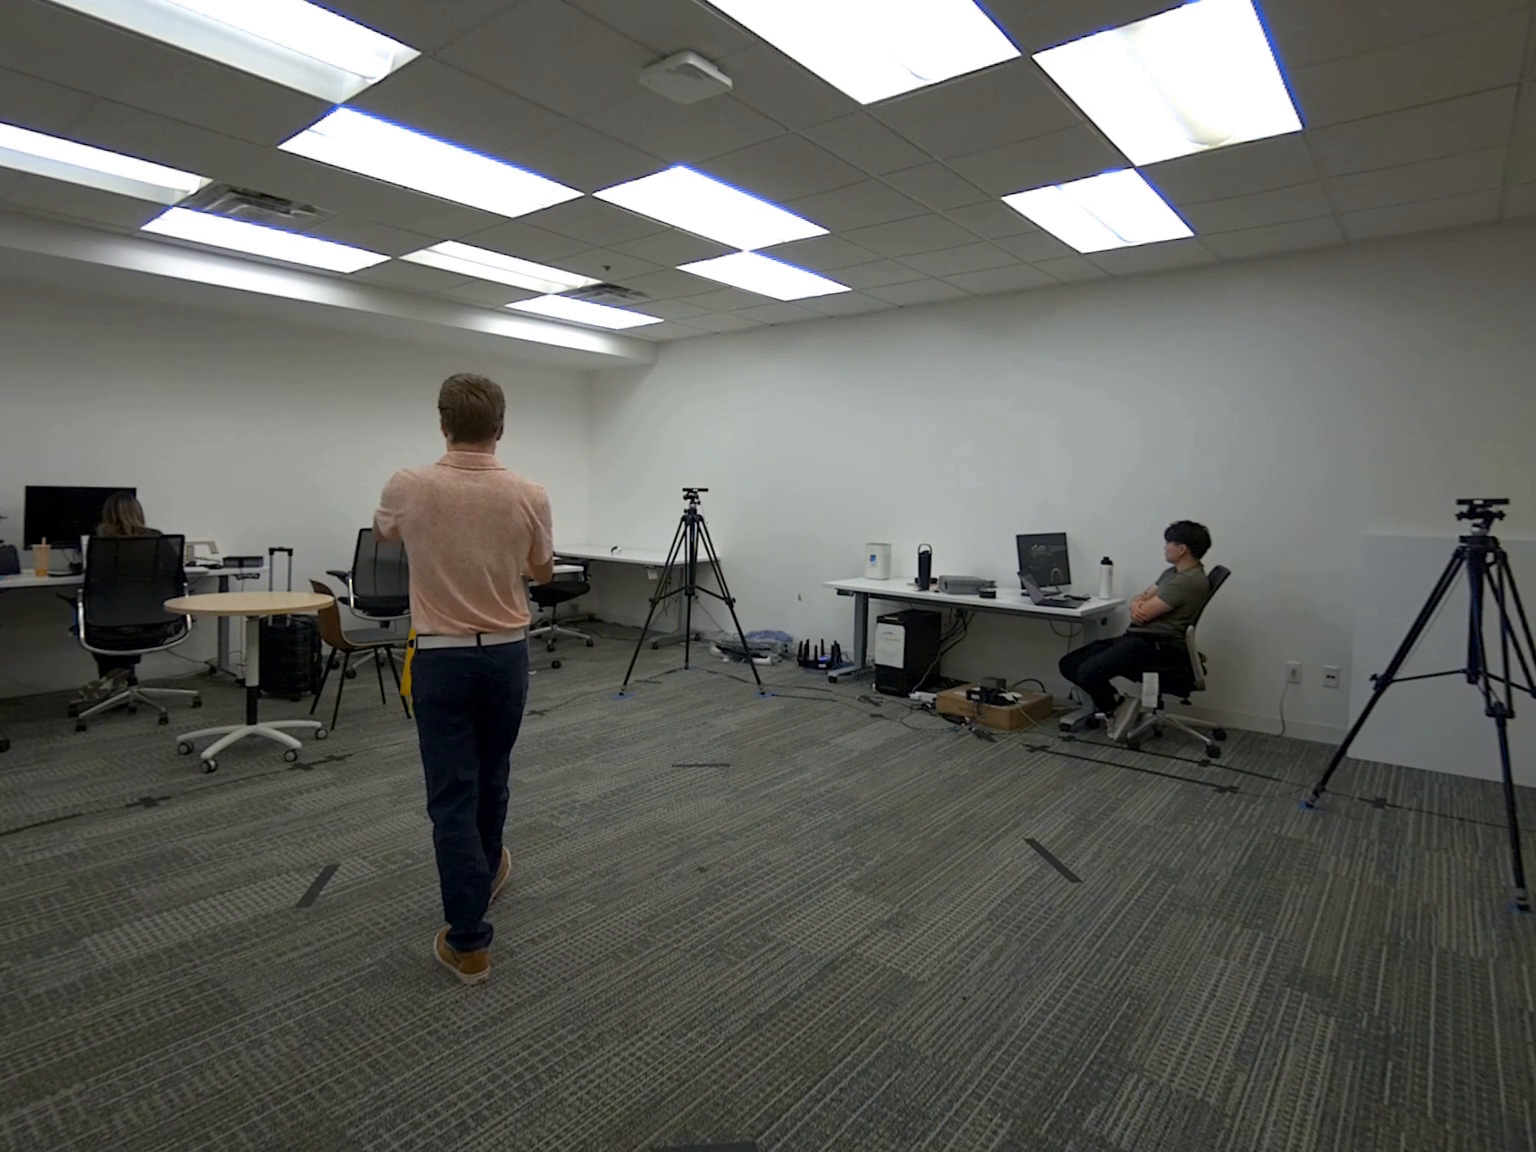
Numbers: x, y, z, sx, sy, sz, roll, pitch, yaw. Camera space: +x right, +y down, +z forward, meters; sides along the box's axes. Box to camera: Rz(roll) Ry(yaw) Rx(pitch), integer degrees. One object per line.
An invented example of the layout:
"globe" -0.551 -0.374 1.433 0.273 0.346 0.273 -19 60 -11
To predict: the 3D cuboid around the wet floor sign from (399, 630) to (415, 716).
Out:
"wet floor sign" -1.076 0.124 2.909 0.274 0.644 0.299 5 5 -30
